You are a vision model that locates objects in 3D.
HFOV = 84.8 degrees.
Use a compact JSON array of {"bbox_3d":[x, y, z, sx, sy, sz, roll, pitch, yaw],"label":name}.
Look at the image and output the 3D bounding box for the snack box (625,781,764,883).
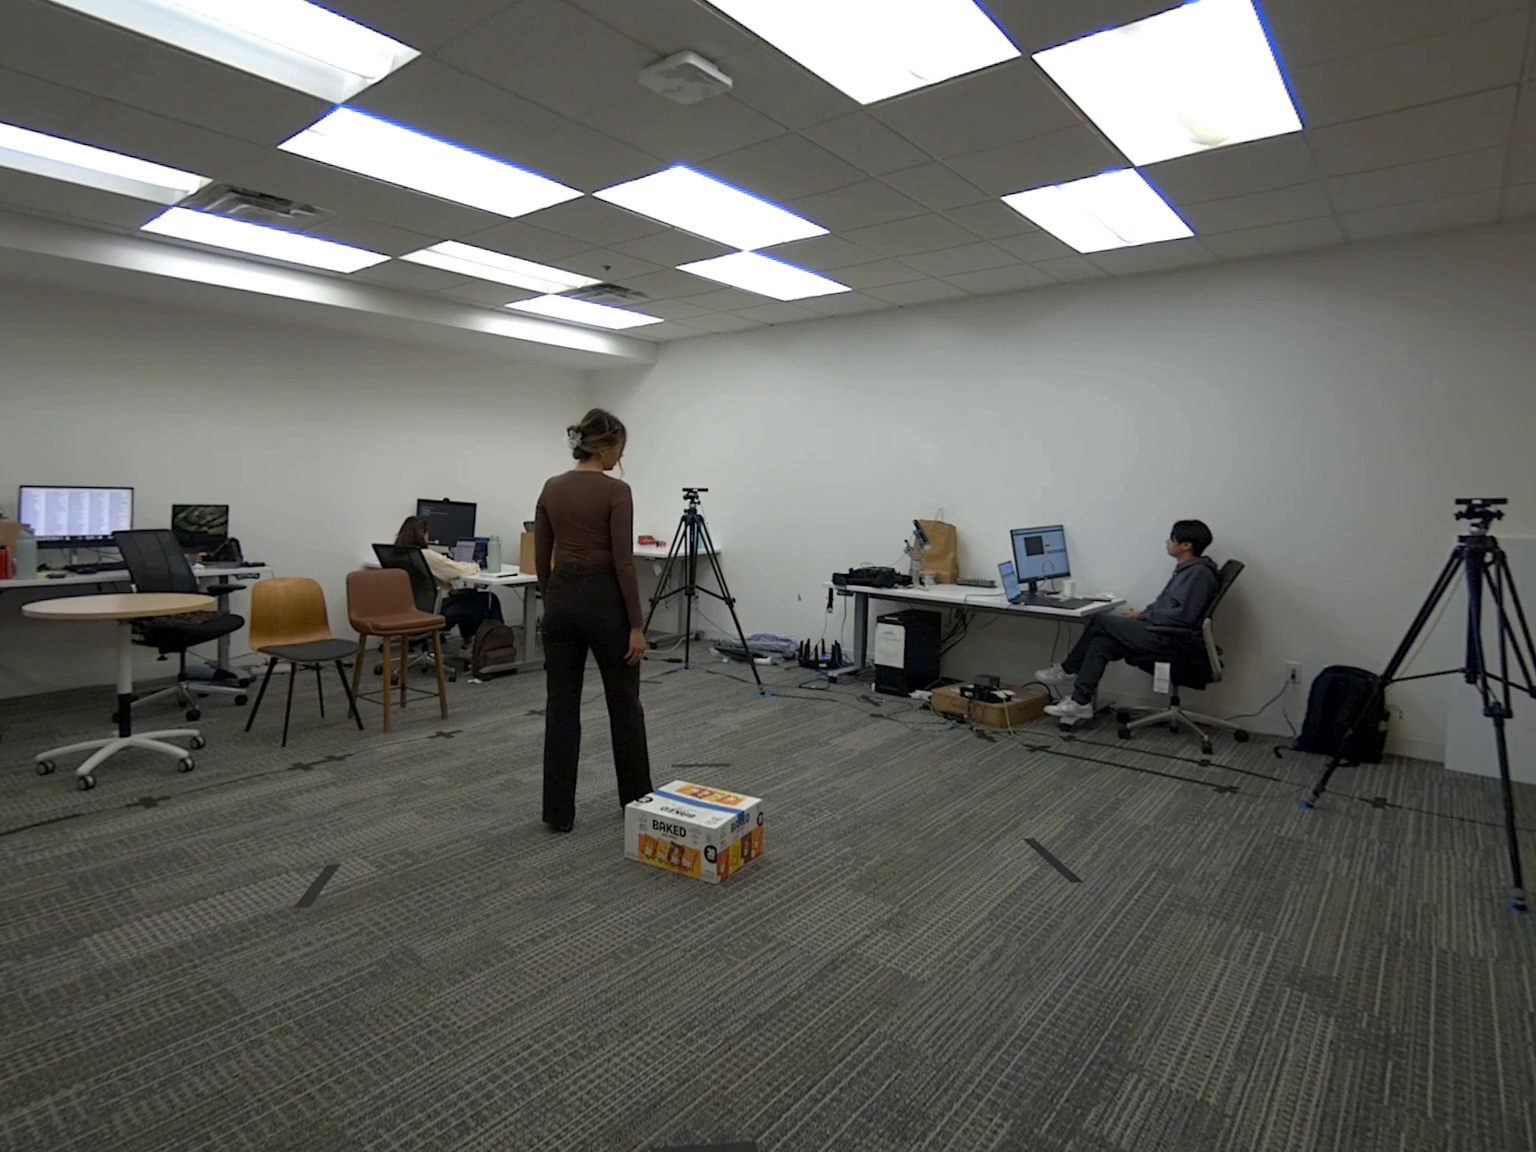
[{"bbox_3d":[-0.290,0.955,3.226,0.417,0.205,0.331,4,5,30],"label":"snack box"}]
